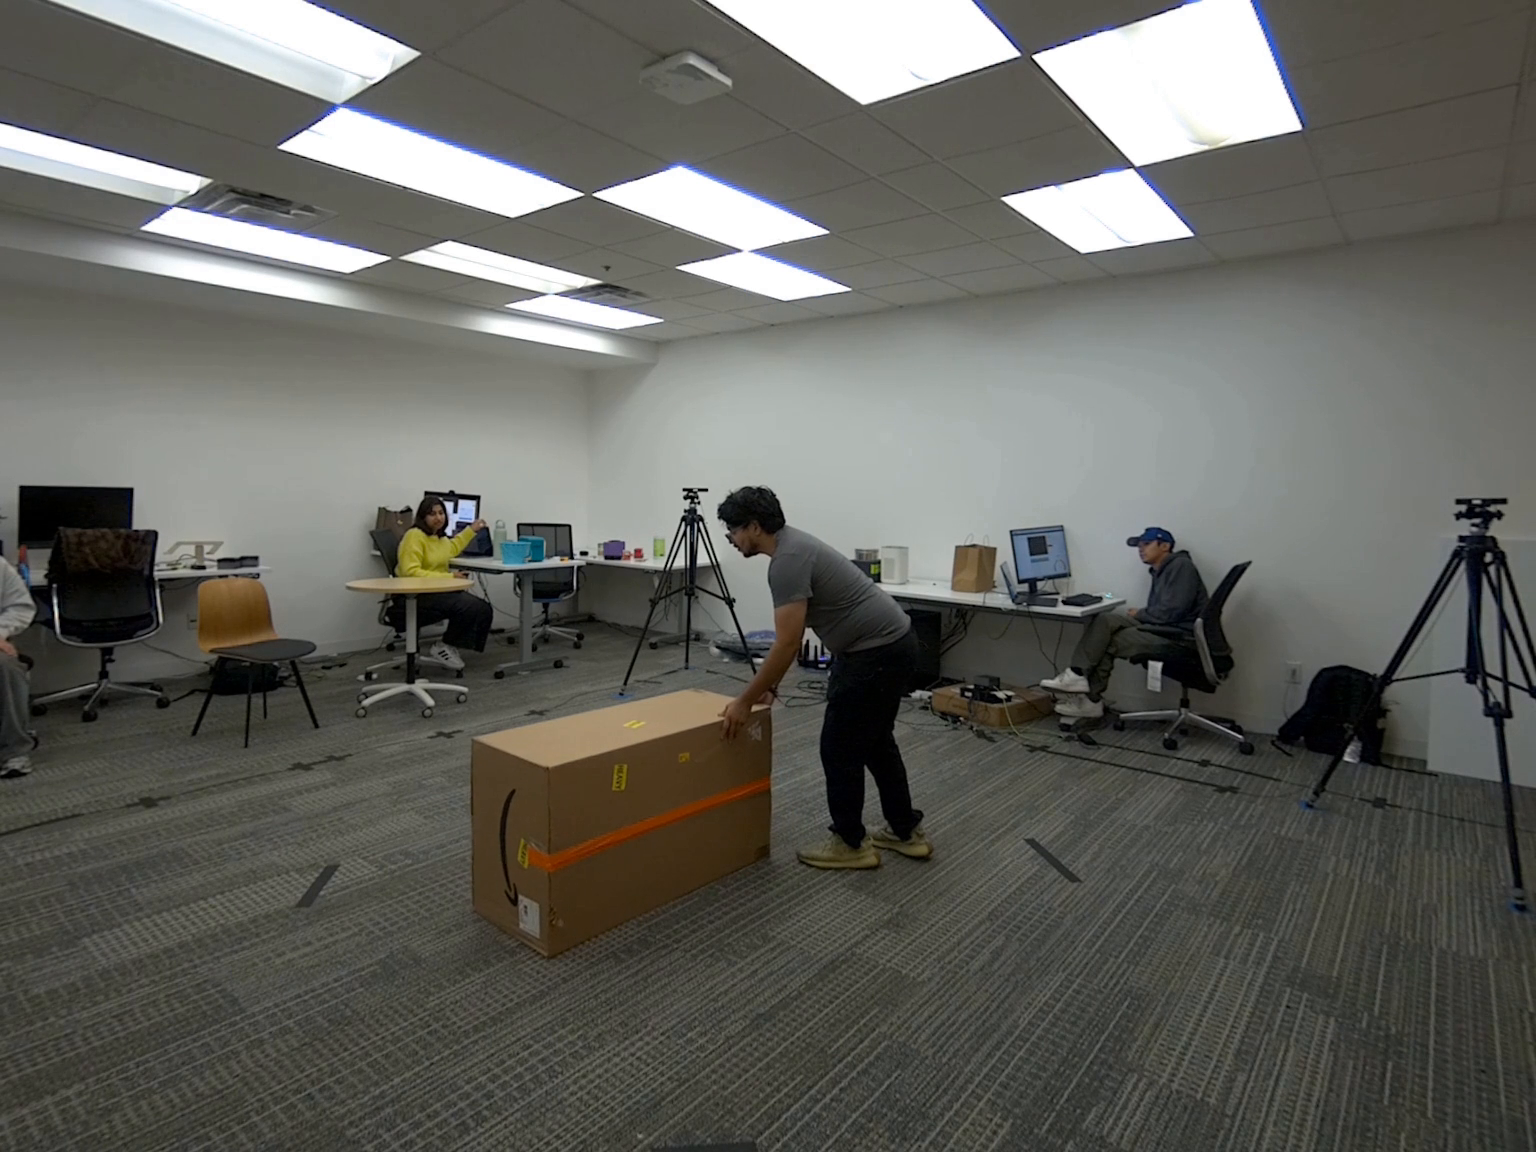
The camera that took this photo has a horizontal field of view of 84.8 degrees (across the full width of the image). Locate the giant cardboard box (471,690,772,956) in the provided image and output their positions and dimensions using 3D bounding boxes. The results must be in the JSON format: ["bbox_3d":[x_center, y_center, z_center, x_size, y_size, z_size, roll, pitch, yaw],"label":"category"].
[{"bbox_3d":[-0.485,0.793,2.990,0.440,0.576,0.995,4,5,41],"label":"giant cardboard box"}]
